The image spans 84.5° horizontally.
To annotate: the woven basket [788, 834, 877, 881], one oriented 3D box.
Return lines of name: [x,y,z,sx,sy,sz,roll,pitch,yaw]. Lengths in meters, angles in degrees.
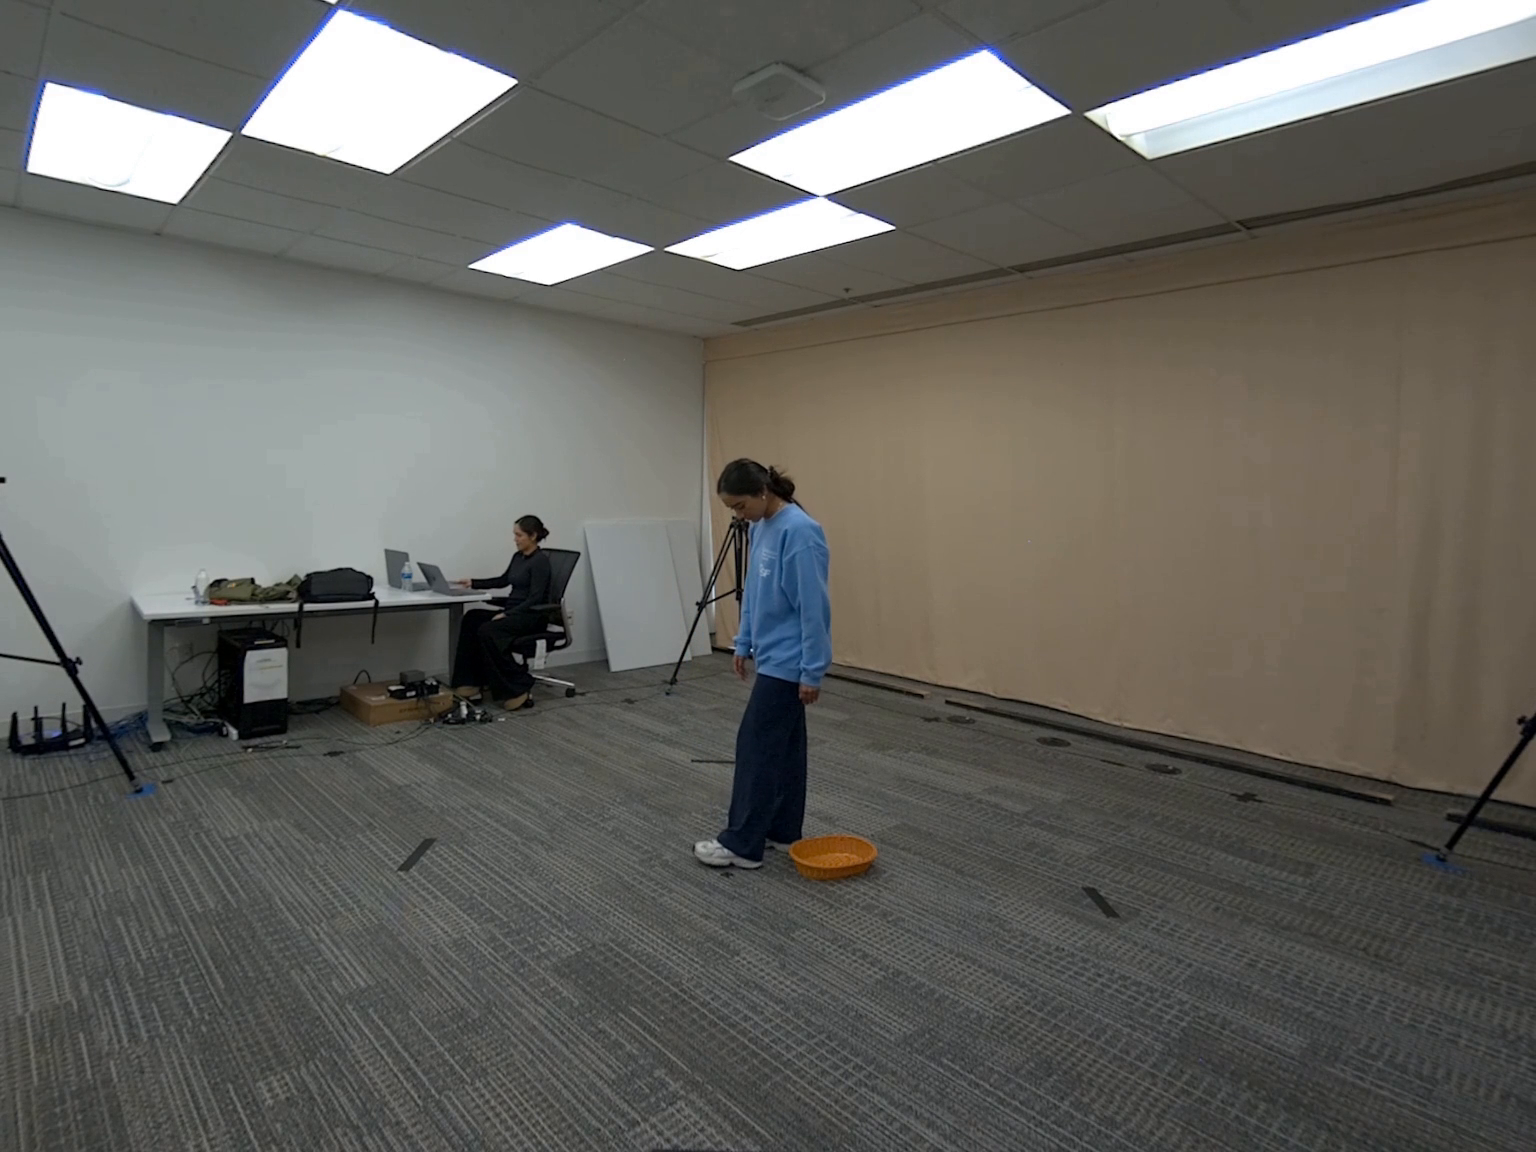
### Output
woven basket: [0.231,1.063,3.180,0.344,0.073,0.258,-1,7,-23]
